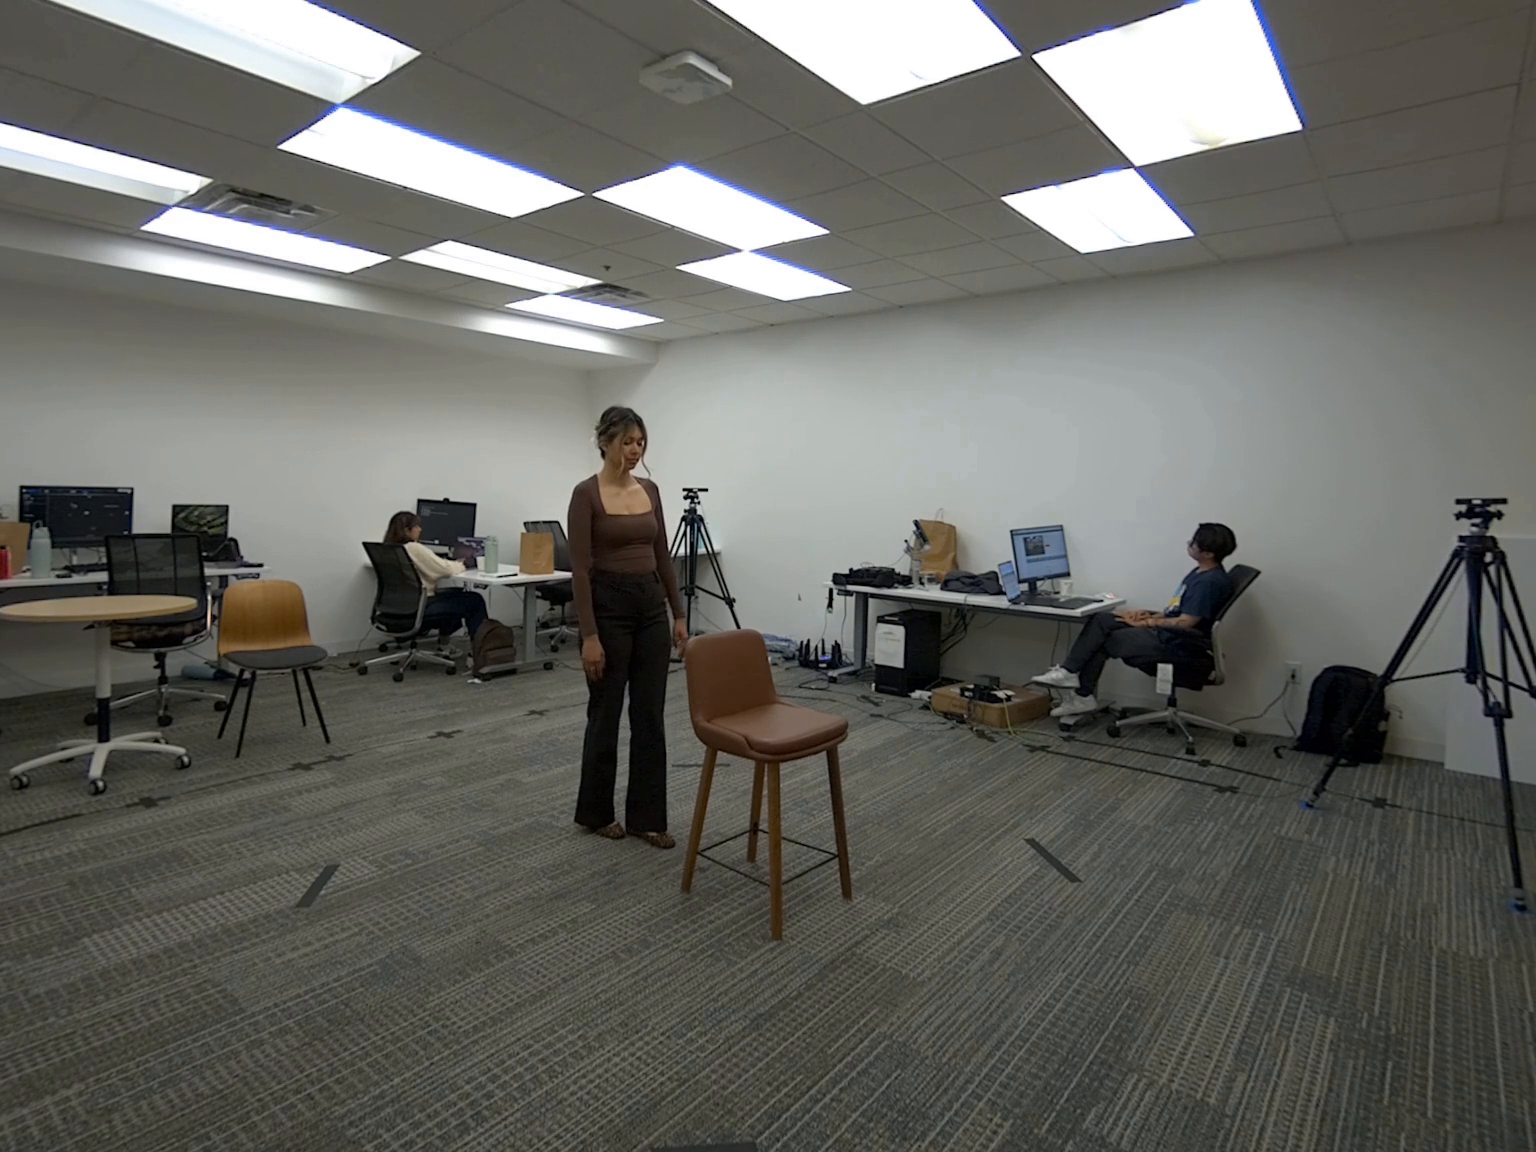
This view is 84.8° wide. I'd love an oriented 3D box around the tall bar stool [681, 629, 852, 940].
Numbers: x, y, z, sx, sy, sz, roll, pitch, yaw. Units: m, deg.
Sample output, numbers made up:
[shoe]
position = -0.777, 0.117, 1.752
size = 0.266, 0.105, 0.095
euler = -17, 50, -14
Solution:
[tall bar stool]
position = -0.013, 0.658, 2.903
size = 0.483, 0.889, 0.442
euler = 1, 2, 41
